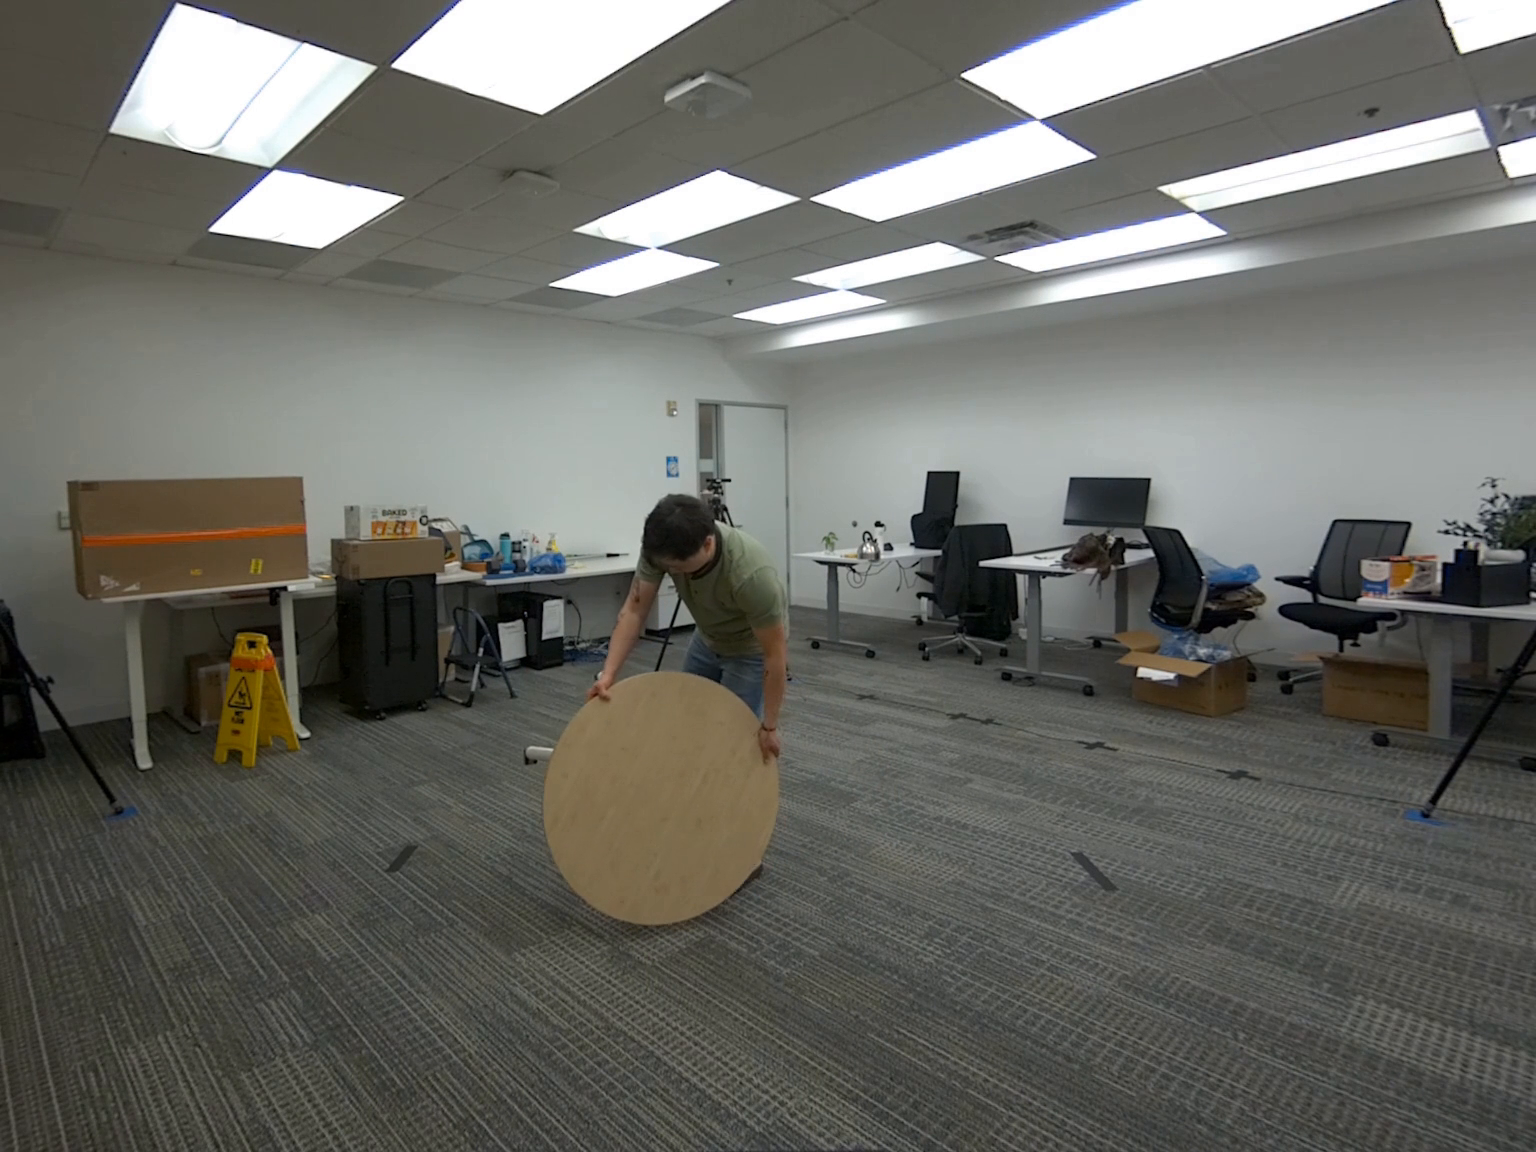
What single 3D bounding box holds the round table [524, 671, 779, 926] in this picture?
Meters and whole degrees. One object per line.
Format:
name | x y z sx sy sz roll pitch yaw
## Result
round table | -0.476 0.713 3.036 0.750 0.768 0.805 -3 -4 -21
